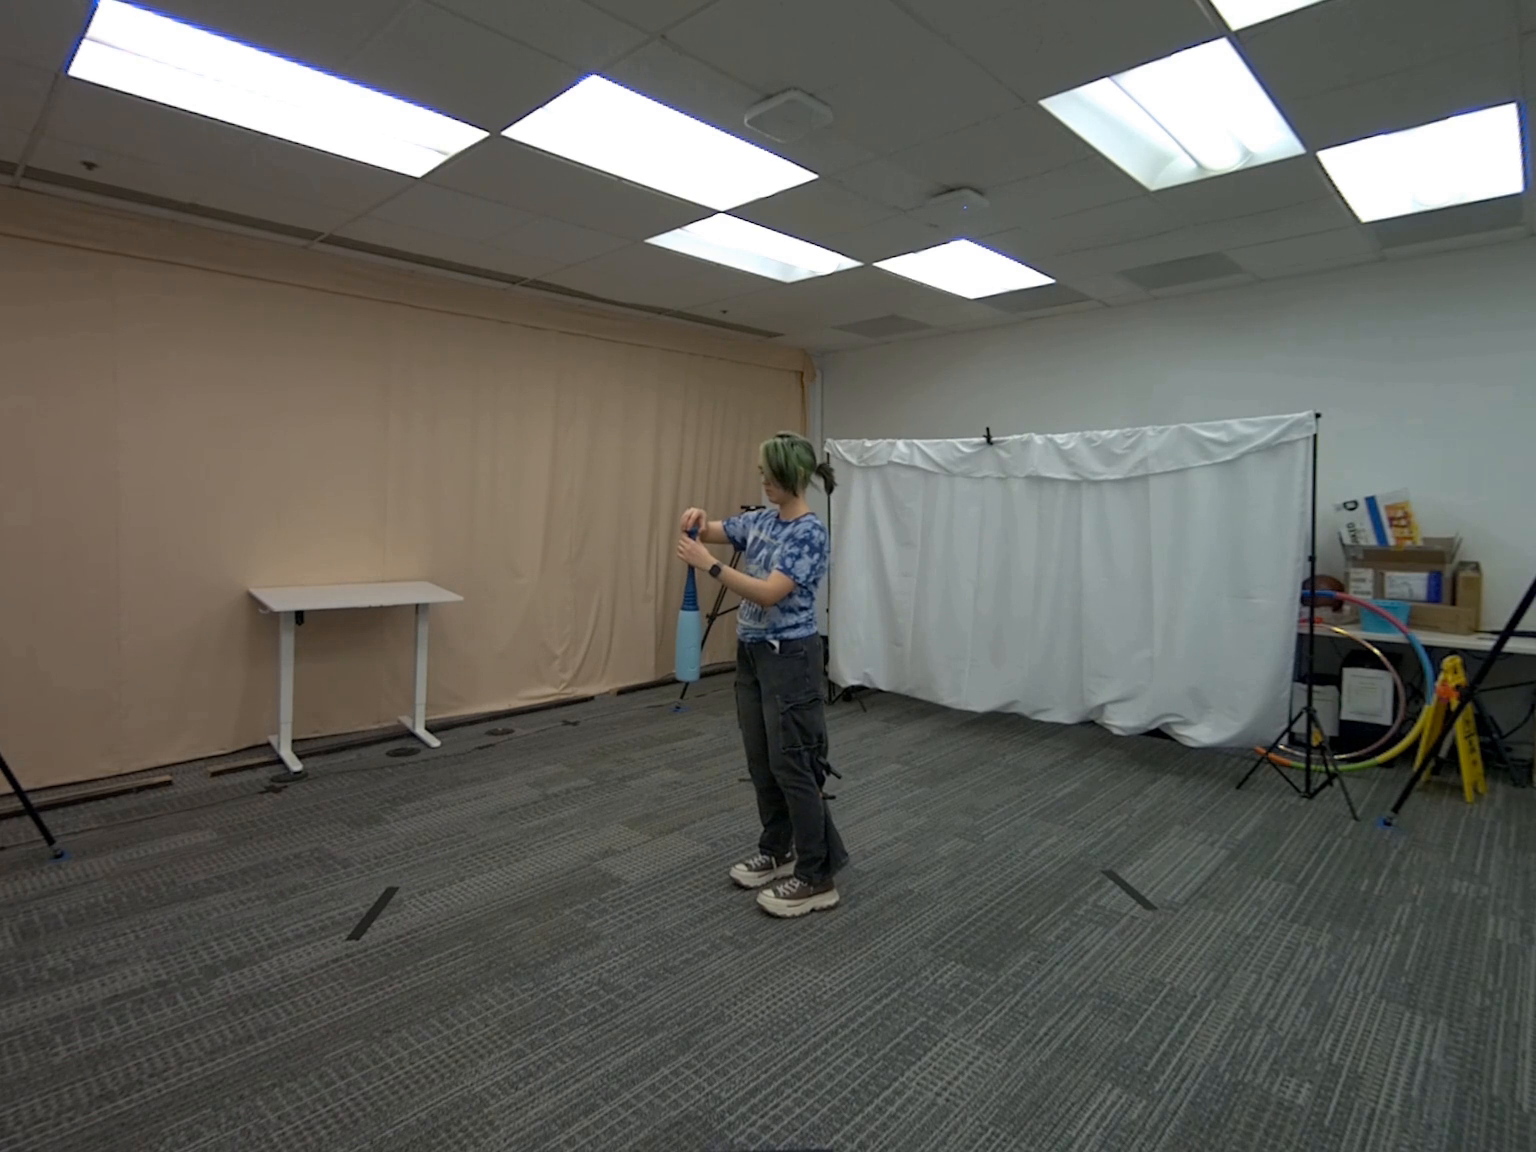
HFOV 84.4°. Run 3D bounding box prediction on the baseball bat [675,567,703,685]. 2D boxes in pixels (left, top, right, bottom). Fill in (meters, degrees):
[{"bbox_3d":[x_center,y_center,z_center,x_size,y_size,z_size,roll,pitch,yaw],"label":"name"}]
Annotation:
[{"bbox_3d":[-0.270,0.100,2.948,0.089,0.542,0.089,3,2,-2],"label":"baseball bat"}]
